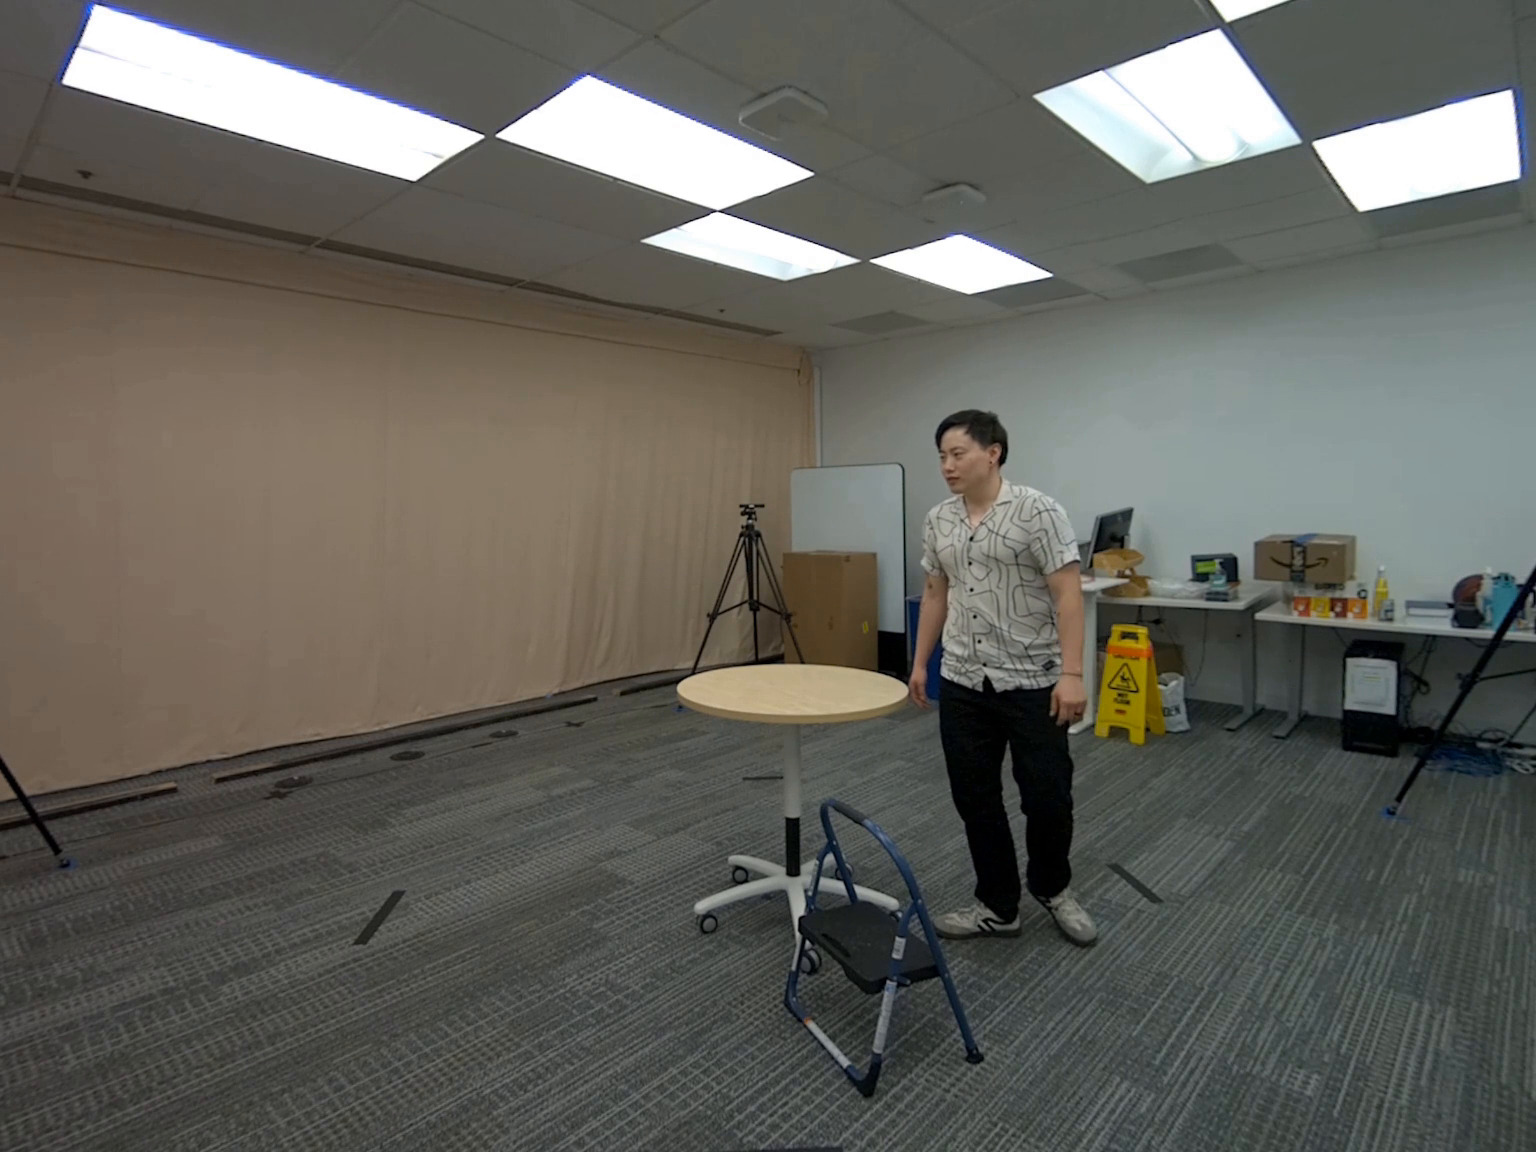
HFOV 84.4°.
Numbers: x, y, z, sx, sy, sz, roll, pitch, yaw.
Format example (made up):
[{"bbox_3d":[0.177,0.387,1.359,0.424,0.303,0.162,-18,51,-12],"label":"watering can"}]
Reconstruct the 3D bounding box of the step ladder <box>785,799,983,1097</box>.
[{"bbox_3d":[0.293,0.900,2.205,0.341,0.604,0.442,-2,4,-27],"label":"step ladder"}]
